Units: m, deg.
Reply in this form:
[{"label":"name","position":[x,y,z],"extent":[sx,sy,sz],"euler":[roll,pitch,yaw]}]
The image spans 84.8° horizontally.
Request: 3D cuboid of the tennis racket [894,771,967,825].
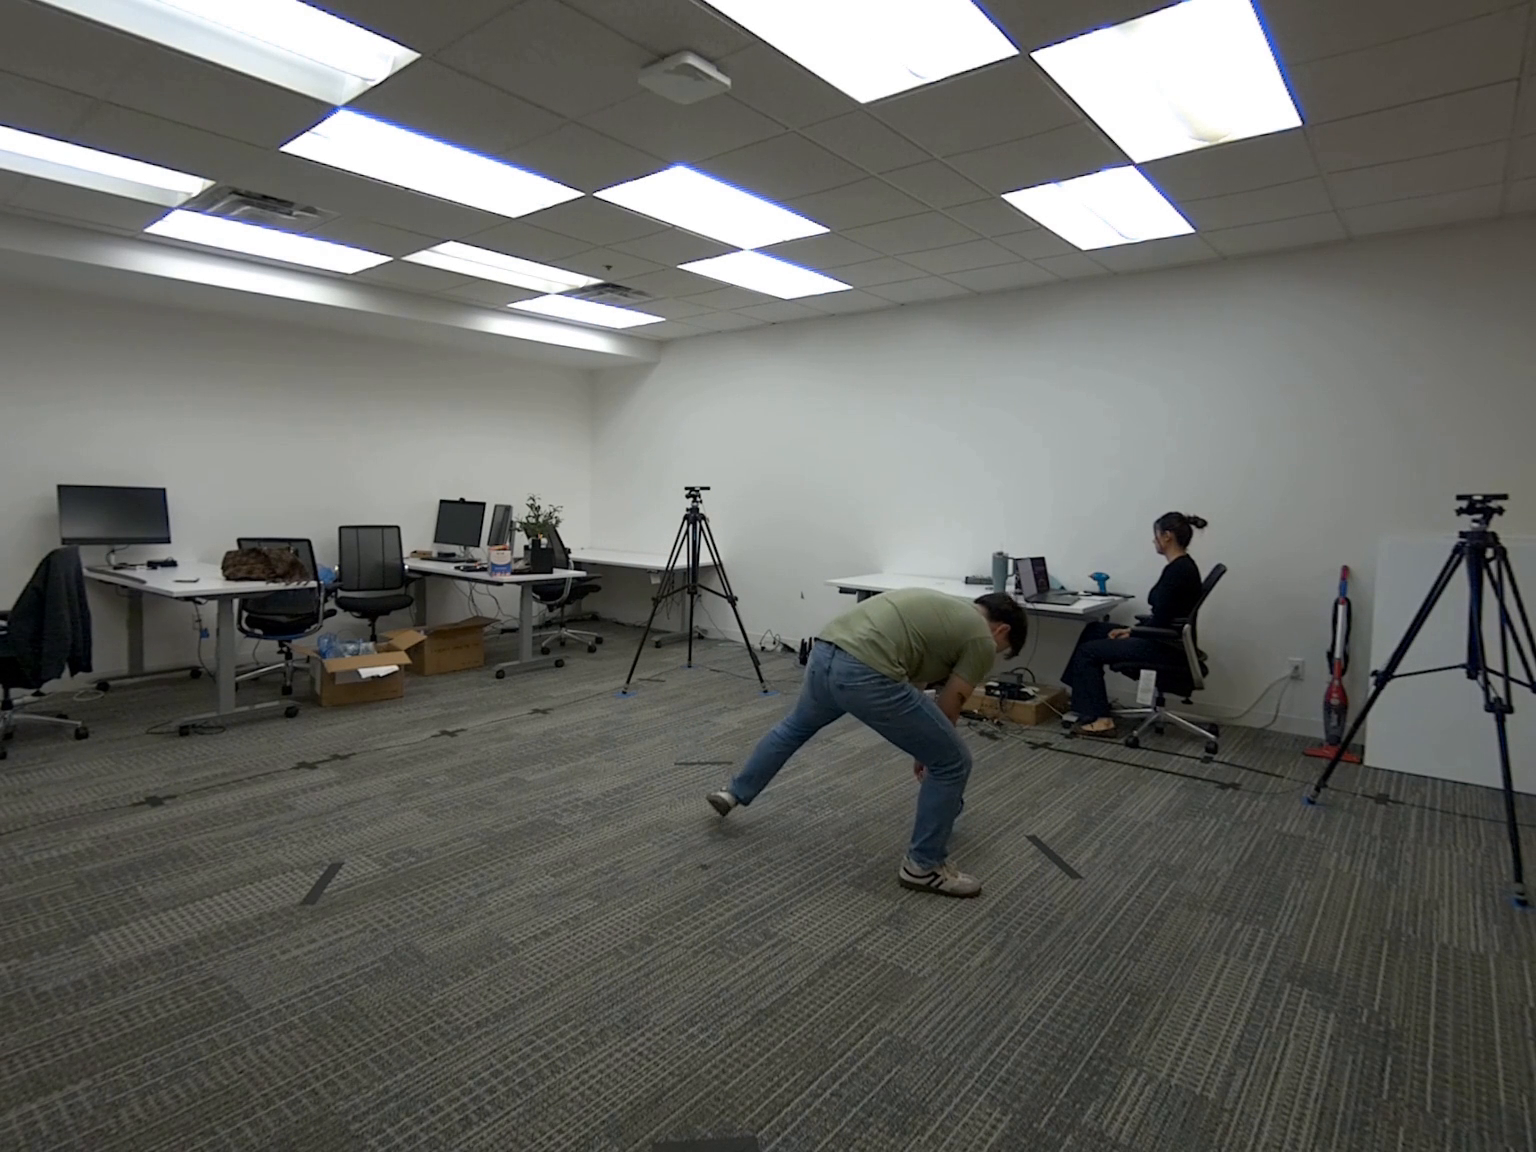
[{"label":"tennis racket","position":[0.650,0.887,3.345],"extent":[0.214,0.416,0.033],"euler":[-28,43,-1]}]
